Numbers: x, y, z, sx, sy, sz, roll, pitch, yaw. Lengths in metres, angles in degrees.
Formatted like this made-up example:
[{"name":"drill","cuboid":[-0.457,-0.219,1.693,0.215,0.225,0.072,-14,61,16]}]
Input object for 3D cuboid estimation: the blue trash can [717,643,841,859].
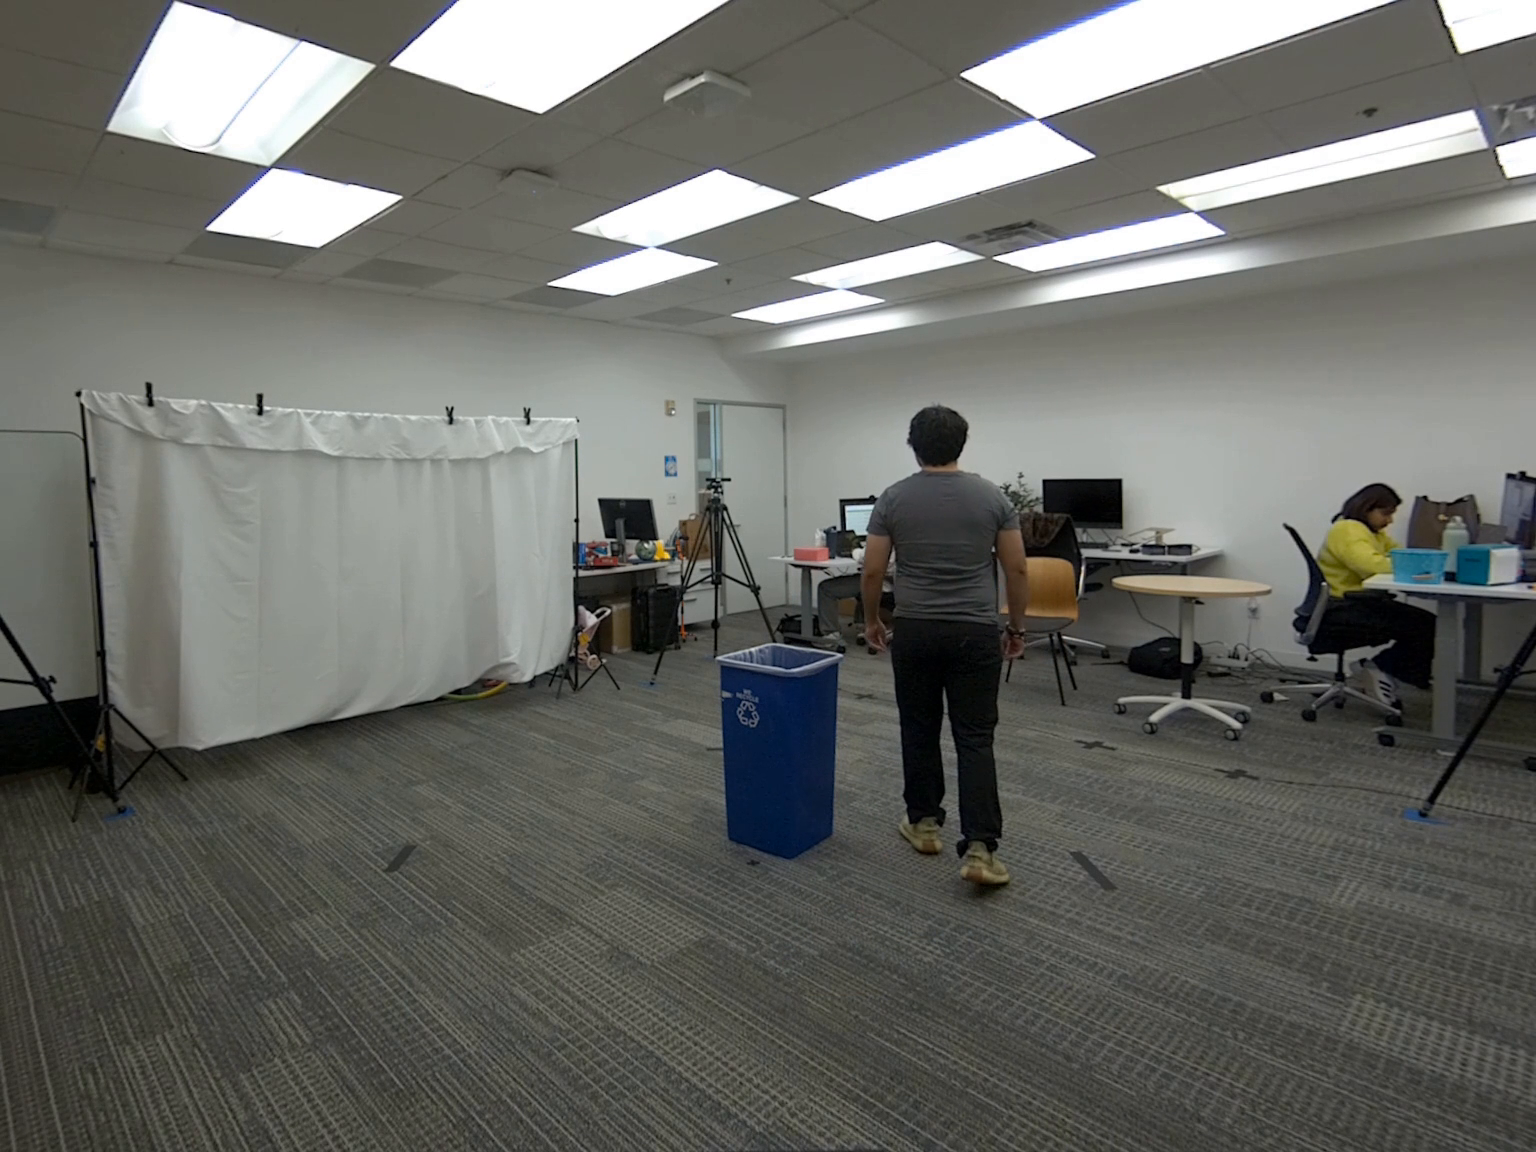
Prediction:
[{"name":"blue trash can","cuboid":[0.056,0.660,3.301,0.385,0.711,0.368,3,5,38]}]
